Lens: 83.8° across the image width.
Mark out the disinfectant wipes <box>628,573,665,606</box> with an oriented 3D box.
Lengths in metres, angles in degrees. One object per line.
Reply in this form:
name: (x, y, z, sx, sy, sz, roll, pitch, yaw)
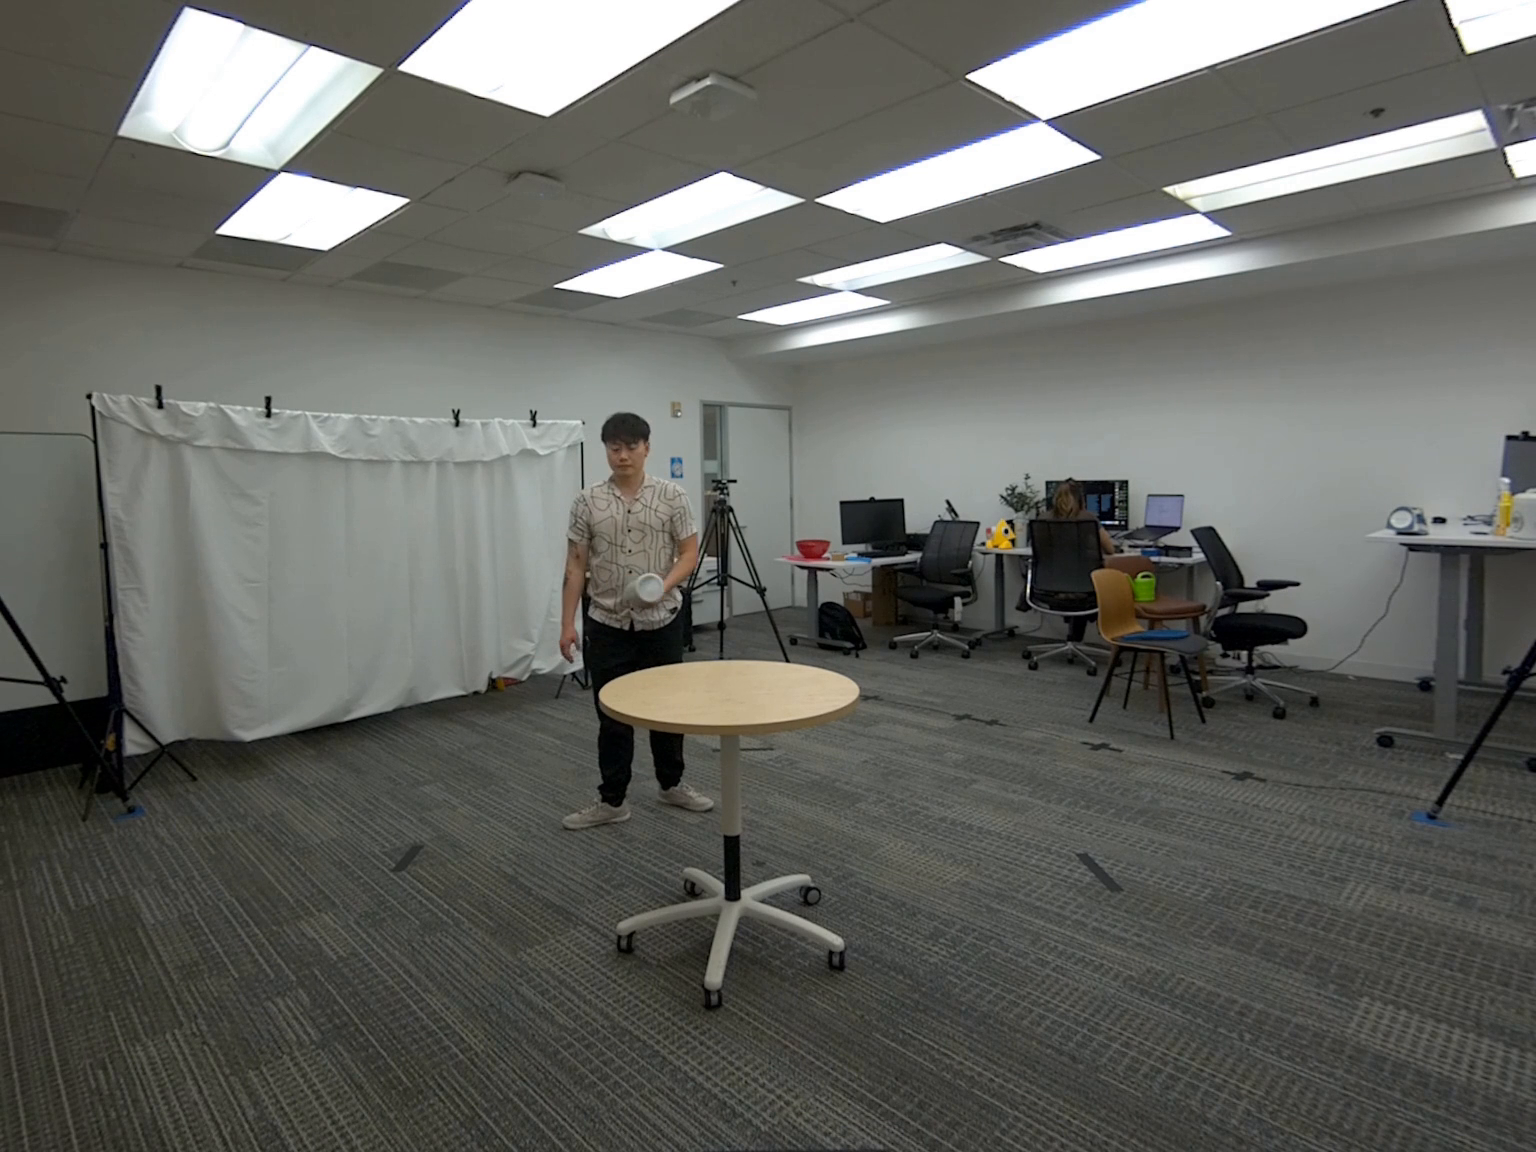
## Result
disinfectant wipes: (-0.471, 0.058, 3.245, 0.116, 0.119, 0.219, -2, -7, -15)
